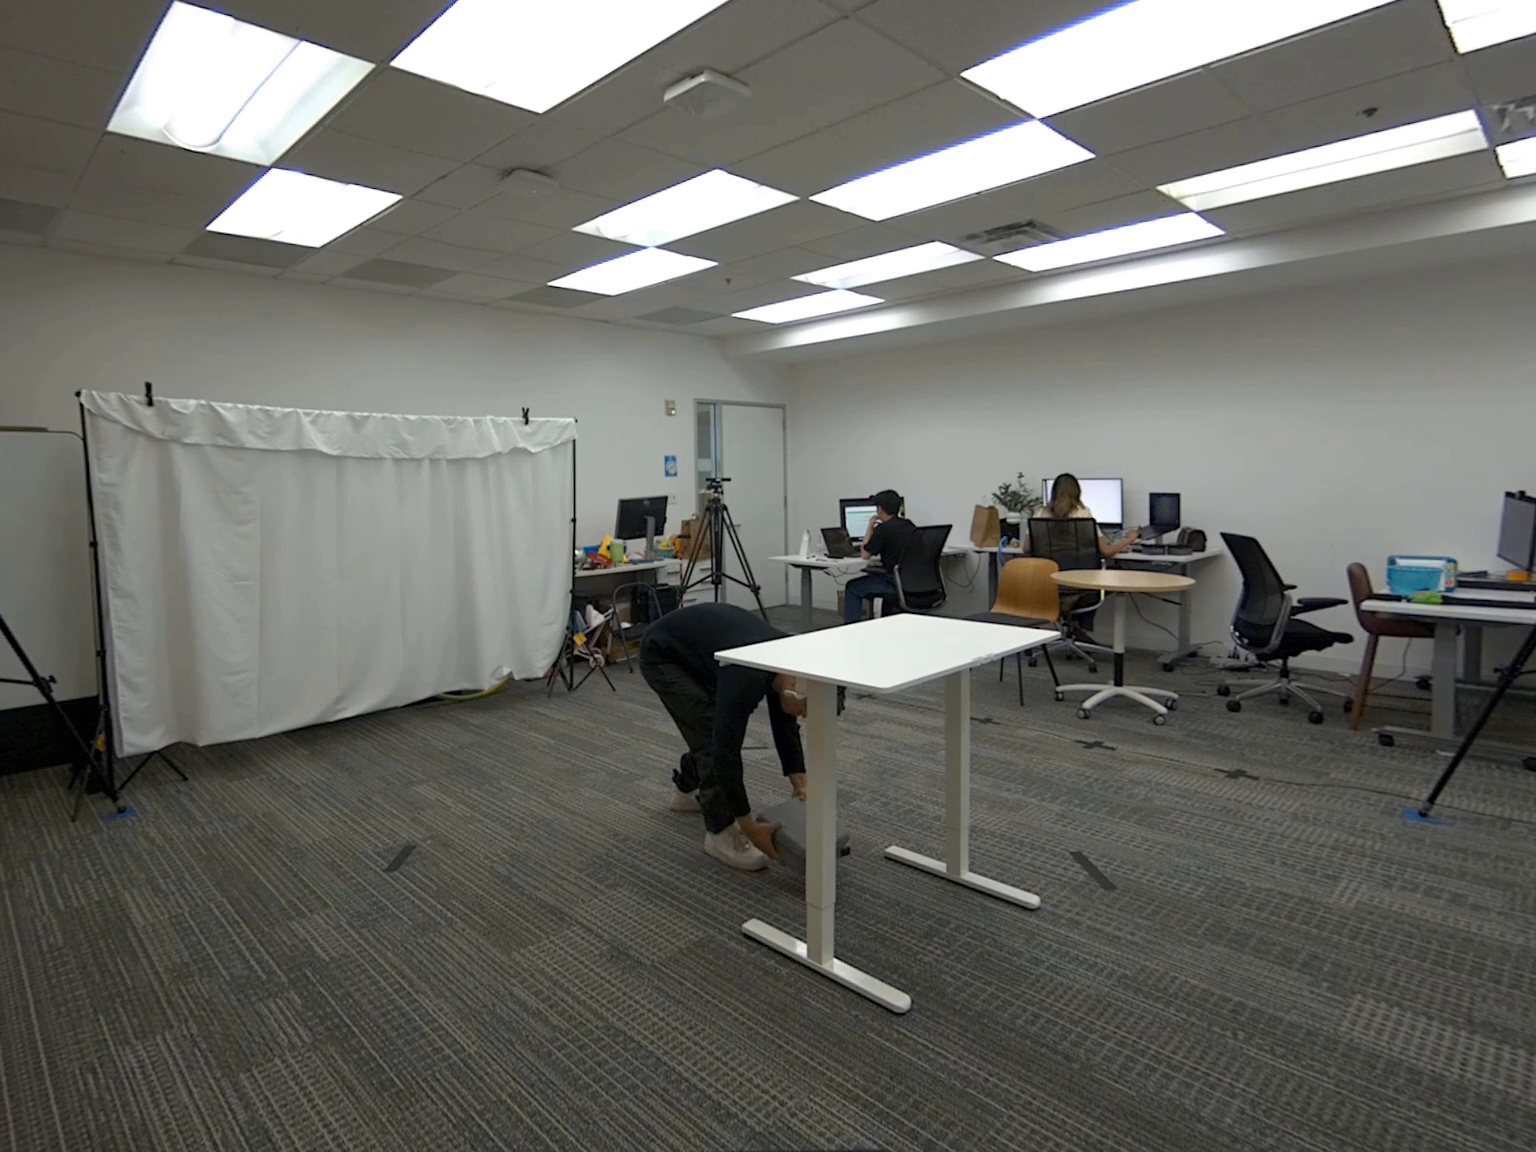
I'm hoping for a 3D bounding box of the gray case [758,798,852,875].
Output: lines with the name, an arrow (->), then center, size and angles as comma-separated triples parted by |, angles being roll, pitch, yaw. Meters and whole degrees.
gray case -> 0.122, 0.879, 2.949 | 0.266, 0.103, 0.254 | 24, 21, 37
